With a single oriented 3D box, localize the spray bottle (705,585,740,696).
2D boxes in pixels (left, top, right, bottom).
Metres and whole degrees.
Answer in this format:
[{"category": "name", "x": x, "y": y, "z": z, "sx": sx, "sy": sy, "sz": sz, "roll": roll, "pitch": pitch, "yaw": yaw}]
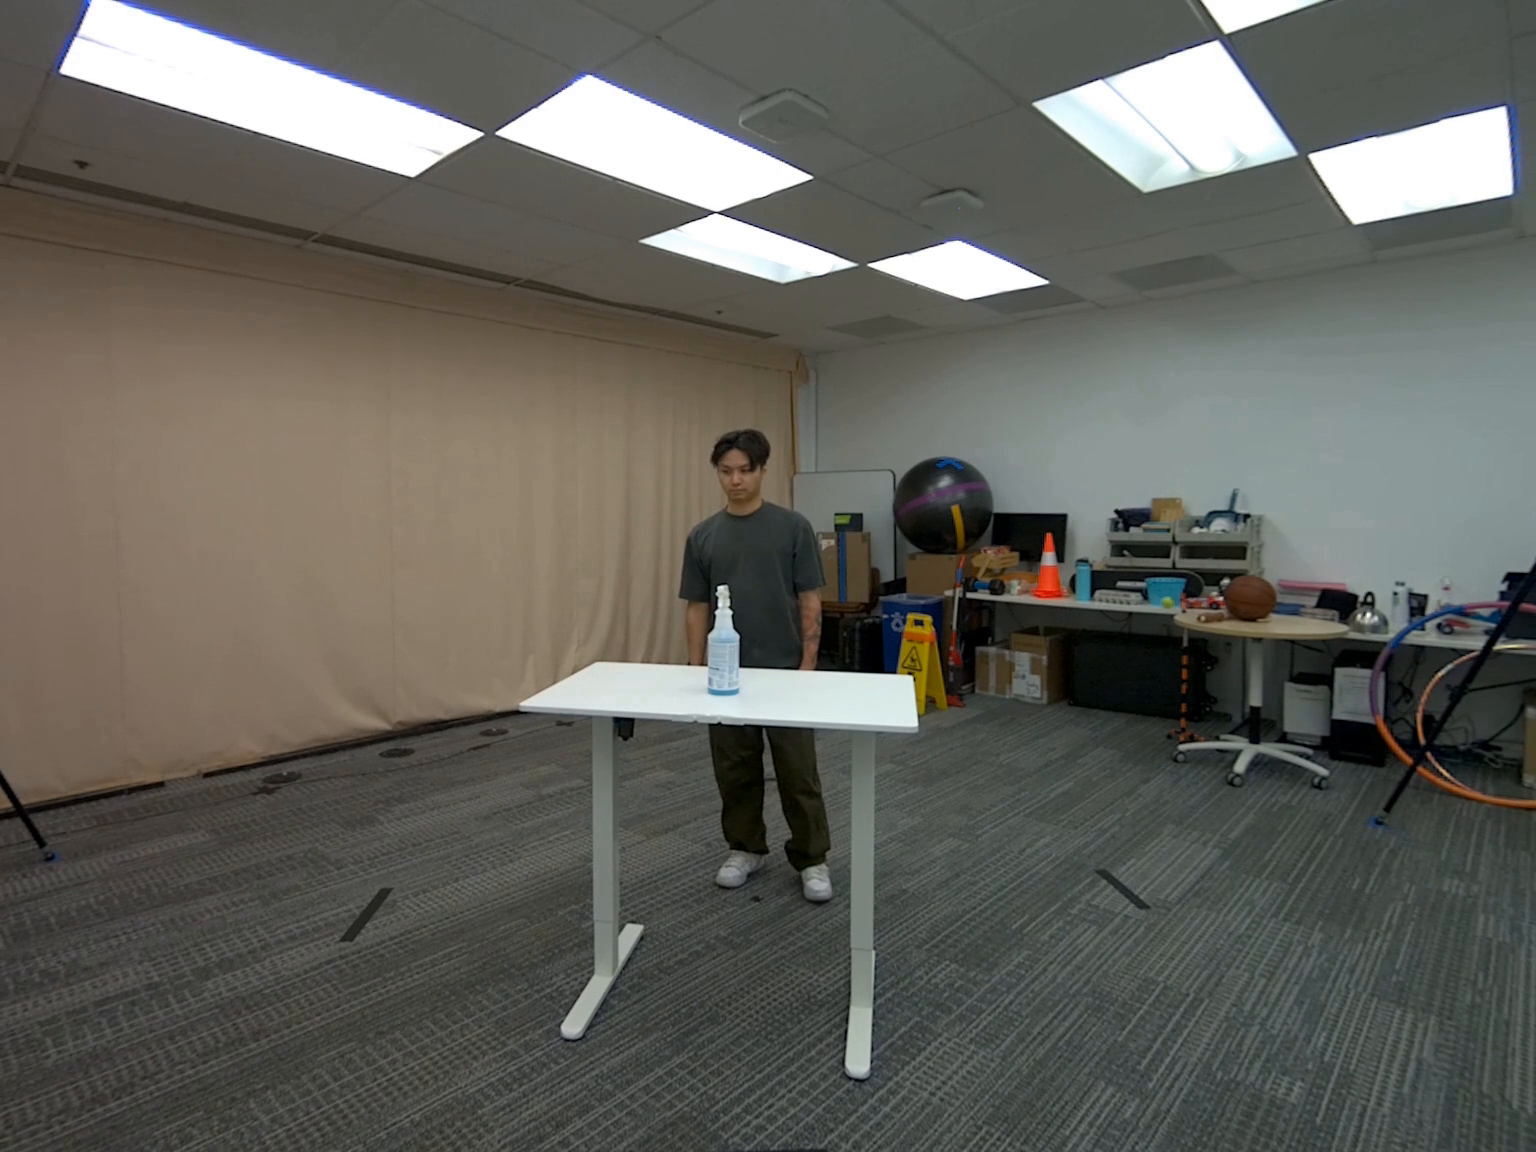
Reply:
[{"category": "spray bottle", "x": -0.121, "y": 0.174, "z": 2.301, "sx": 0.090, "sy": 0.297, "sz": 0.087, "roll": 6, "pitch": 5, "yaw": 36}]
